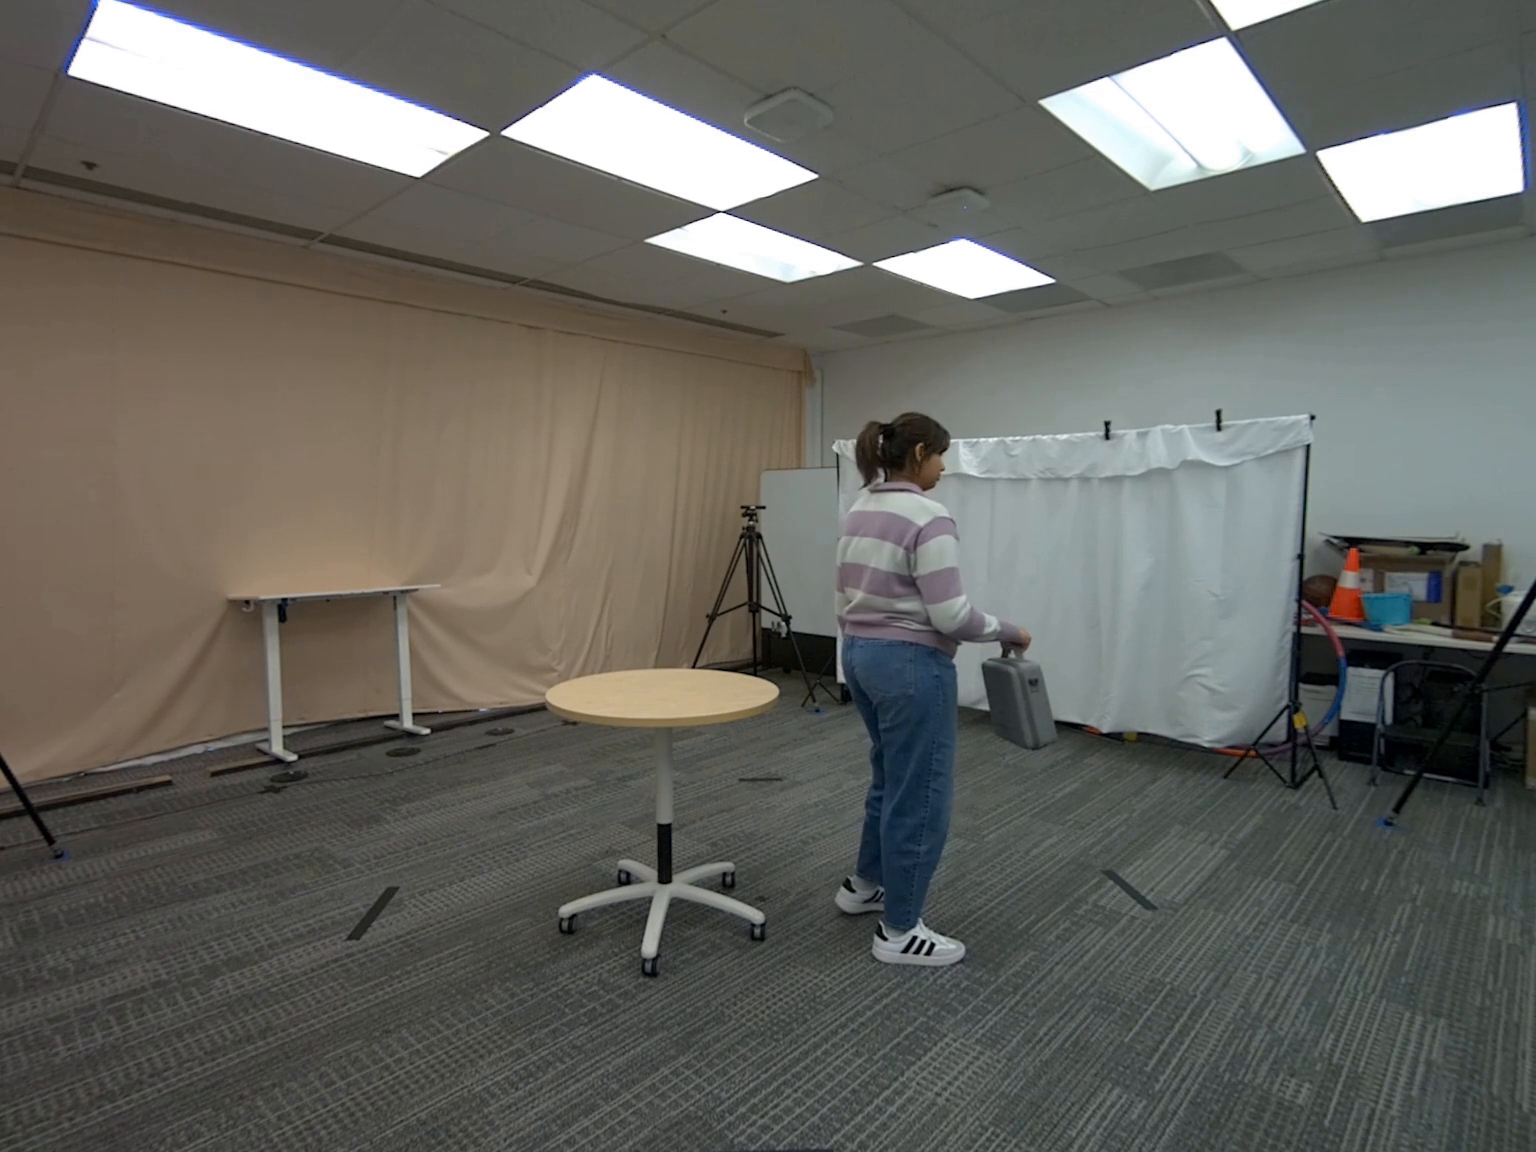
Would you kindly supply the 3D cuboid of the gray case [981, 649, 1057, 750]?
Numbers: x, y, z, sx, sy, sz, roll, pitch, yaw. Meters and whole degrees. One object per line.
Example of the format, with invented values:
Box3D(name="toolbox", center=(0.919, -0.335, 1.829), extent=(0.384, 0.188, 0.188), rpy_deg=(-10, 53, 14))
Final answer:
Box3D(name="gray case", center=(0.763, 0.374, 2.559), extent=(0.104, 0.261, 0.258), rpy_deg=(-10, 0, -6))
